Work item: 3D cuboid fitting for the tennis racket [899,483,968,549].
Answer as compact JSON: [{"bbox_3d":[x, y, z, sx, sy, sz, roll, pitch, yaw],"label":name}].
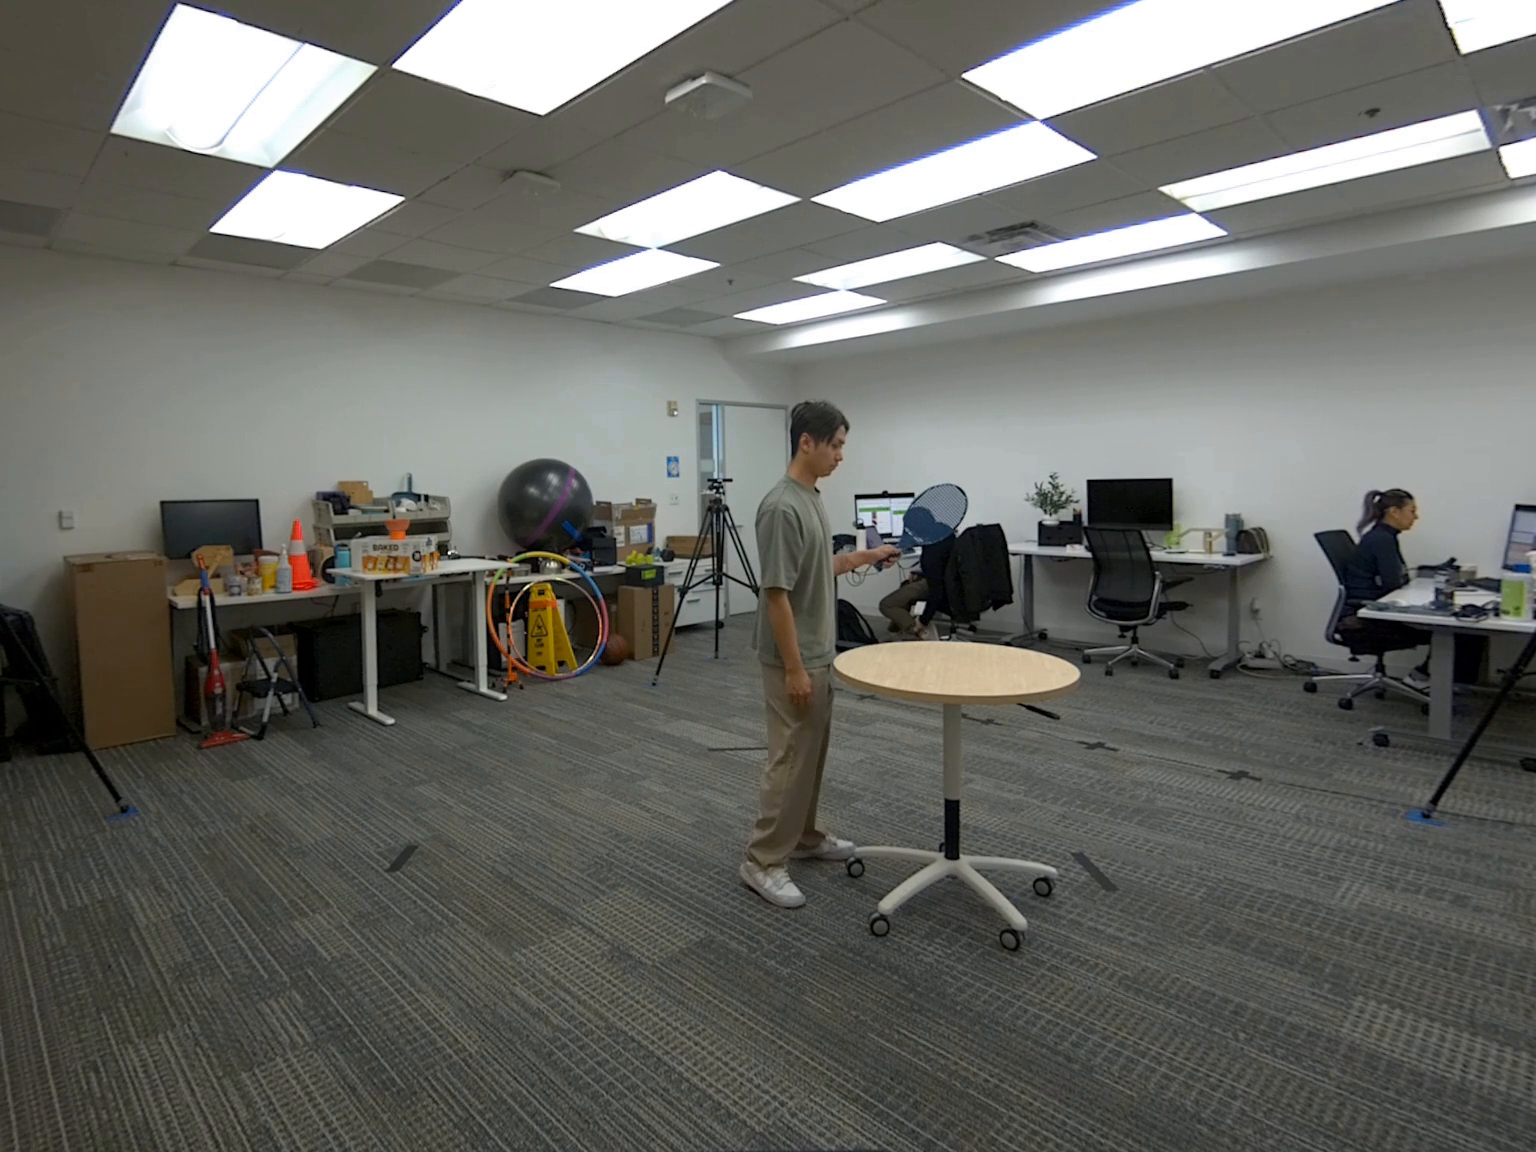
[{"bbox_3d":[0.568,-0.174,3.192,0.433,0.208,0.032,-43,21,6],"label":"tennis racket"}]
